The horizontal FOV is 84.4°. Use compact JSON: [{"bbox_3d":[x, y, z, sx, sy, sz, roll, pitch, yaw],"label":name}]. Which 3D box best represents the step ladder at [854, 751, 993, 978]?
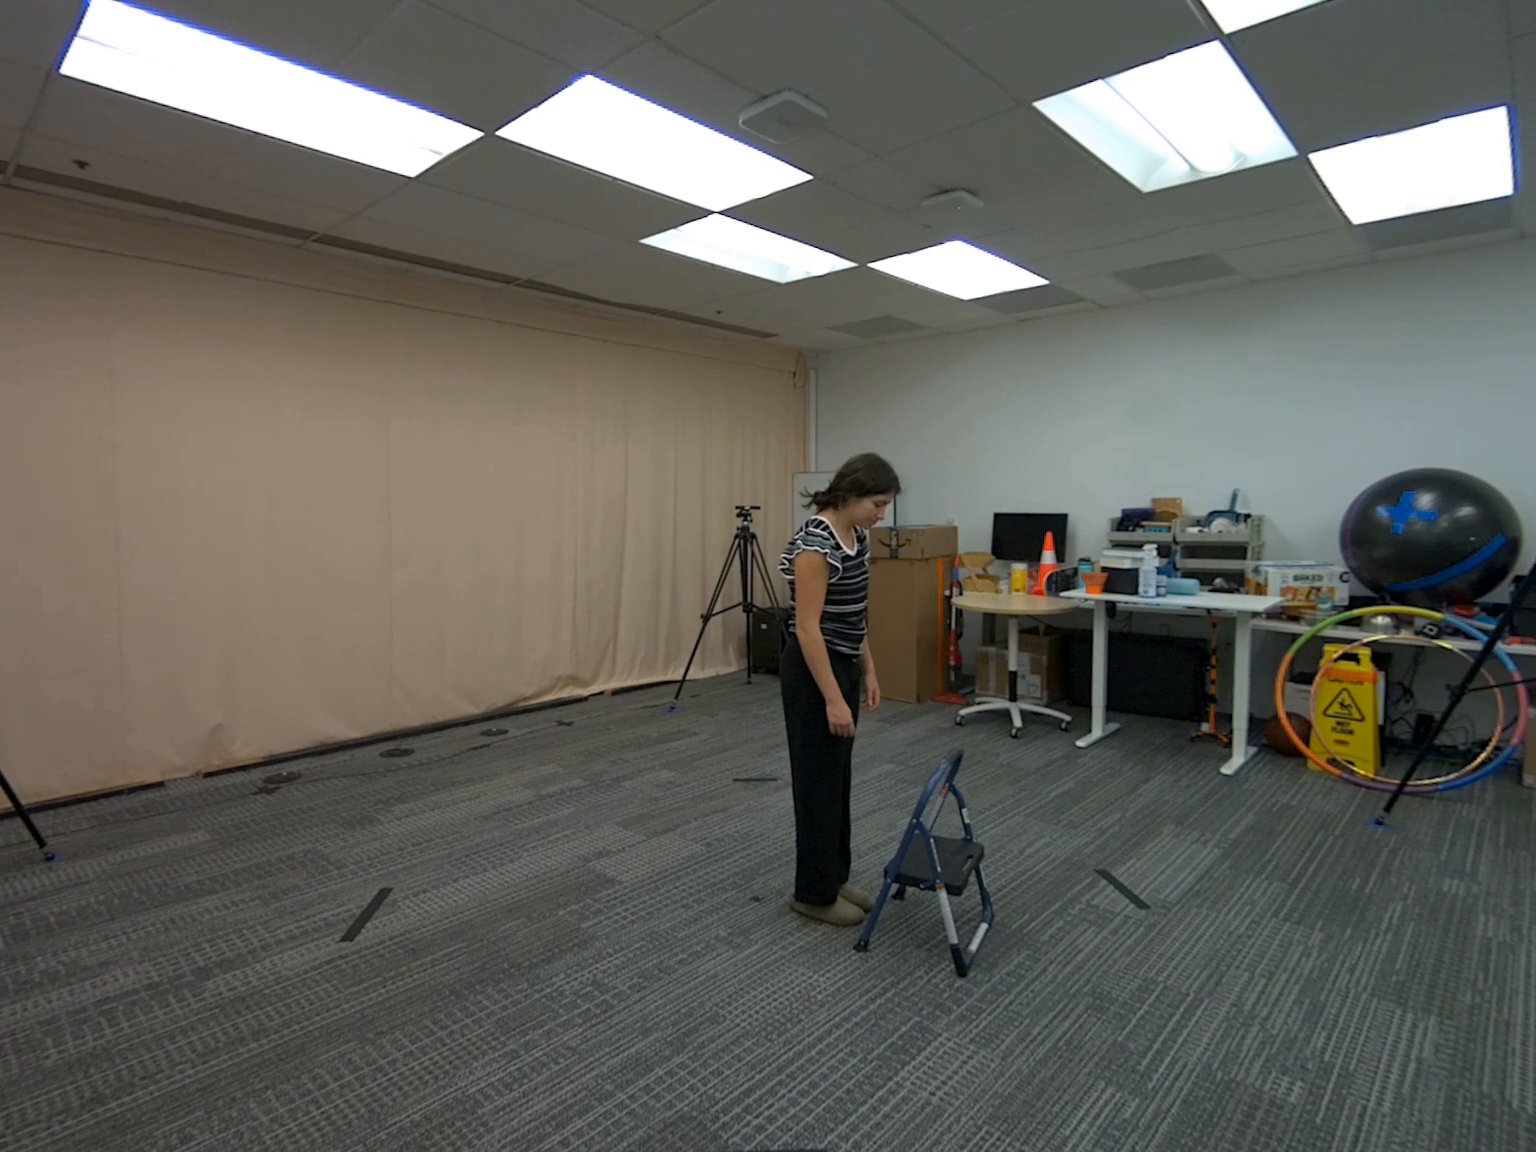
[{"bbox_3d":[0.523,0.862,2.718,0.359,0.605,0.420,2,4,27],"label":"step ladder"}]
